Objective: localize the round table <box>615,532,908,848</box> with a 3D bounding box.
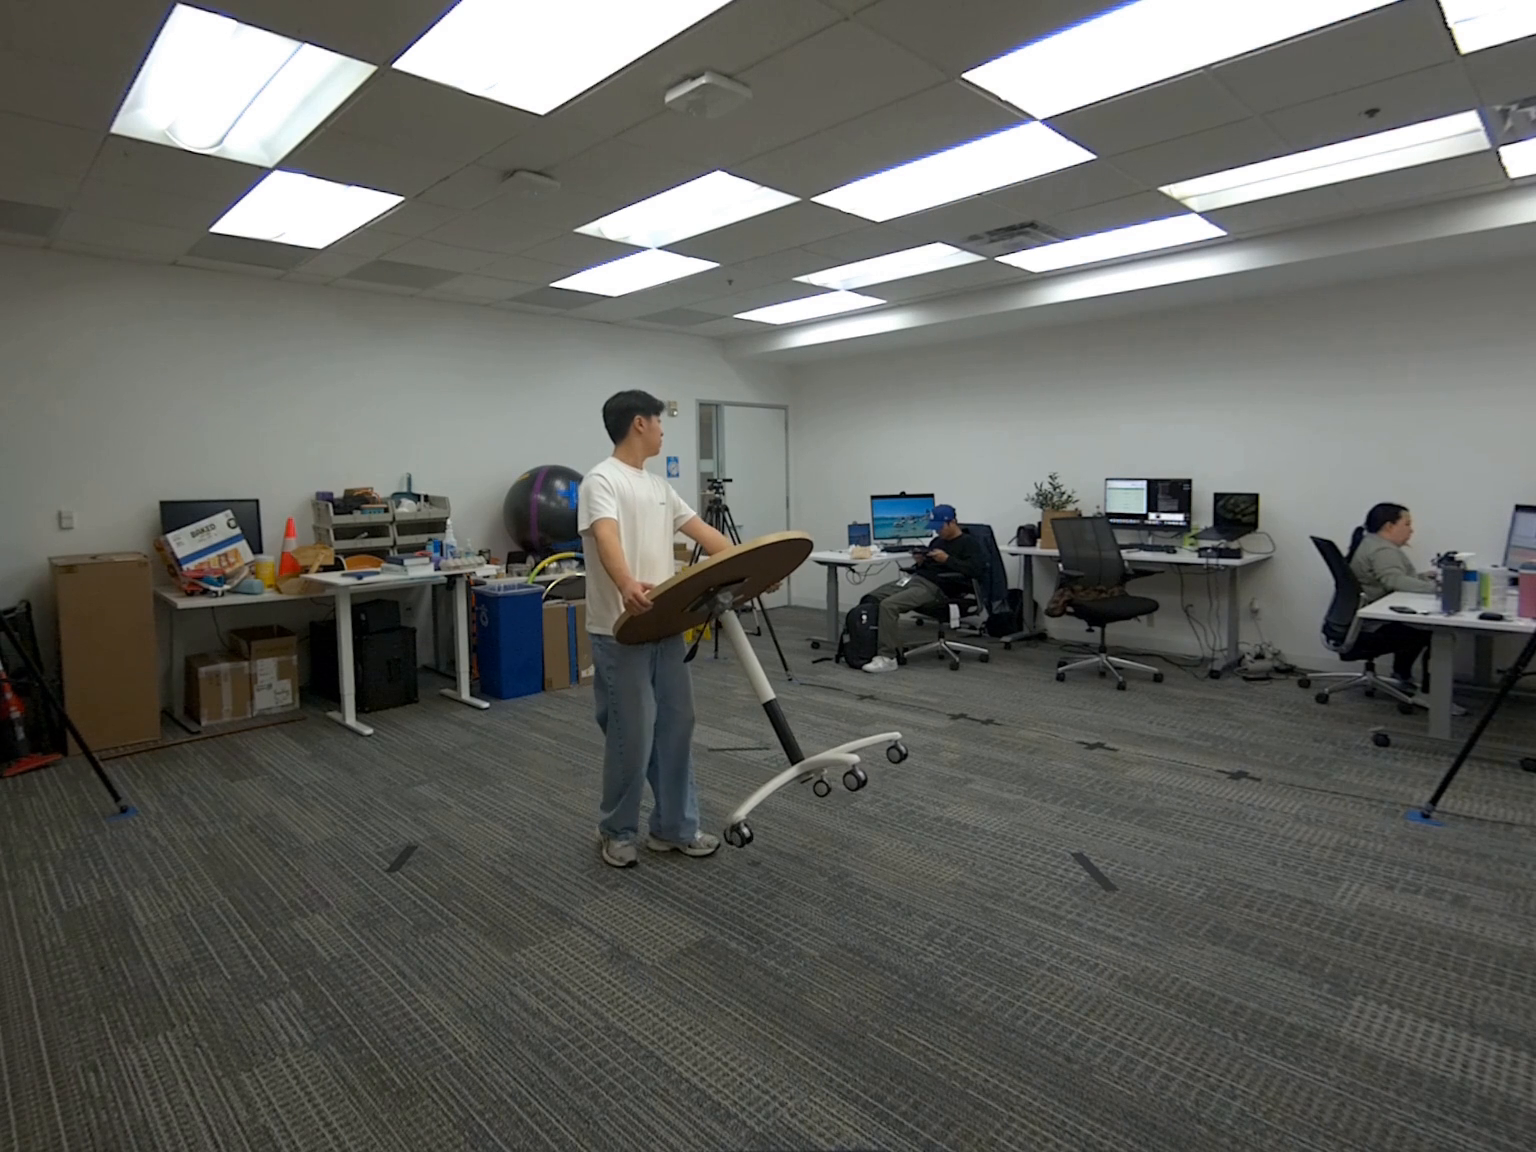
[{"bbox_3d":[-0.016,0.396,2.888,0.761,0.809,0.753,-24,-14,-8],"label":"round table"}]
